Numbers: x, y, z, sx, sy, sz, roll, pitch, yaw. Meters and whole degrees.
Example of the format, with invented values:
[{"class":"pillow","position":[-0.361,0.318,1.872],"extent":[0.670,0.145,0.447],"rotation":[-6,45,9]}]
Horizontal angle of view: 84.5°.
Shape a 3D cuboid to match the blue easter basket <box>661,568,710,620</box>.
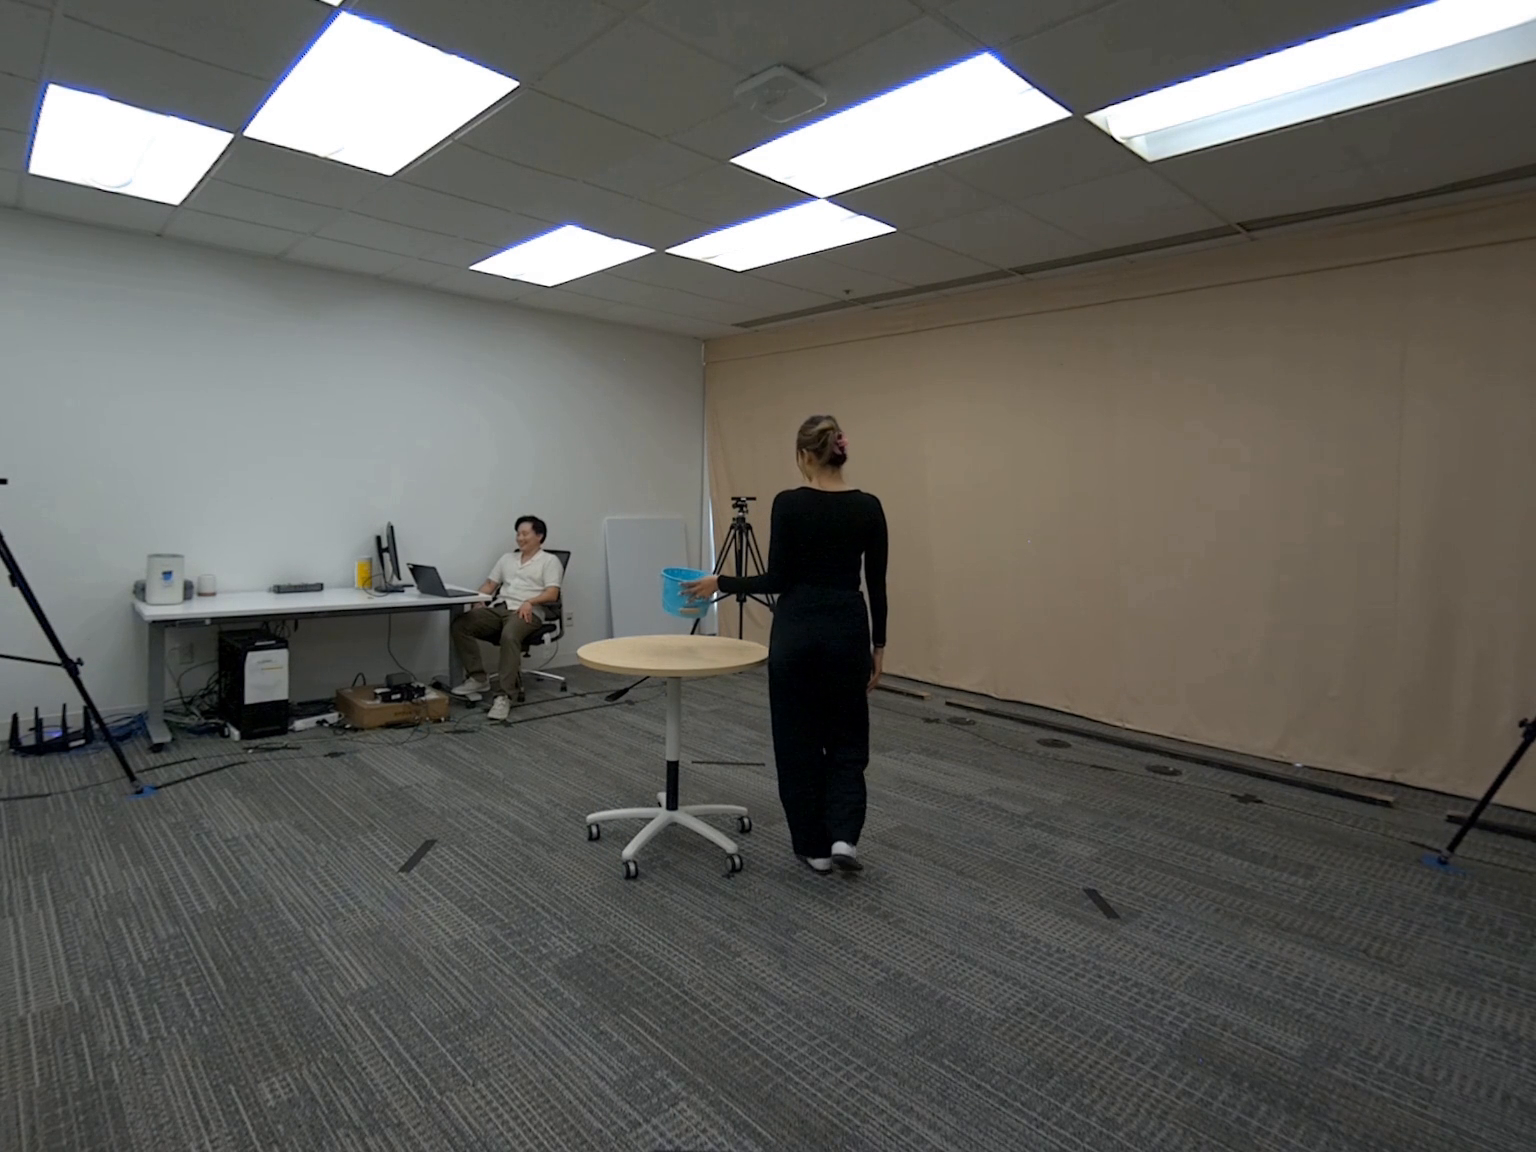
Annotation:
[{"class":"blue easter basket","position":[-0.325,0.069,3.347],"extent":[0.243,0.155,0.245],"rotation":[8,9,-3]}]
